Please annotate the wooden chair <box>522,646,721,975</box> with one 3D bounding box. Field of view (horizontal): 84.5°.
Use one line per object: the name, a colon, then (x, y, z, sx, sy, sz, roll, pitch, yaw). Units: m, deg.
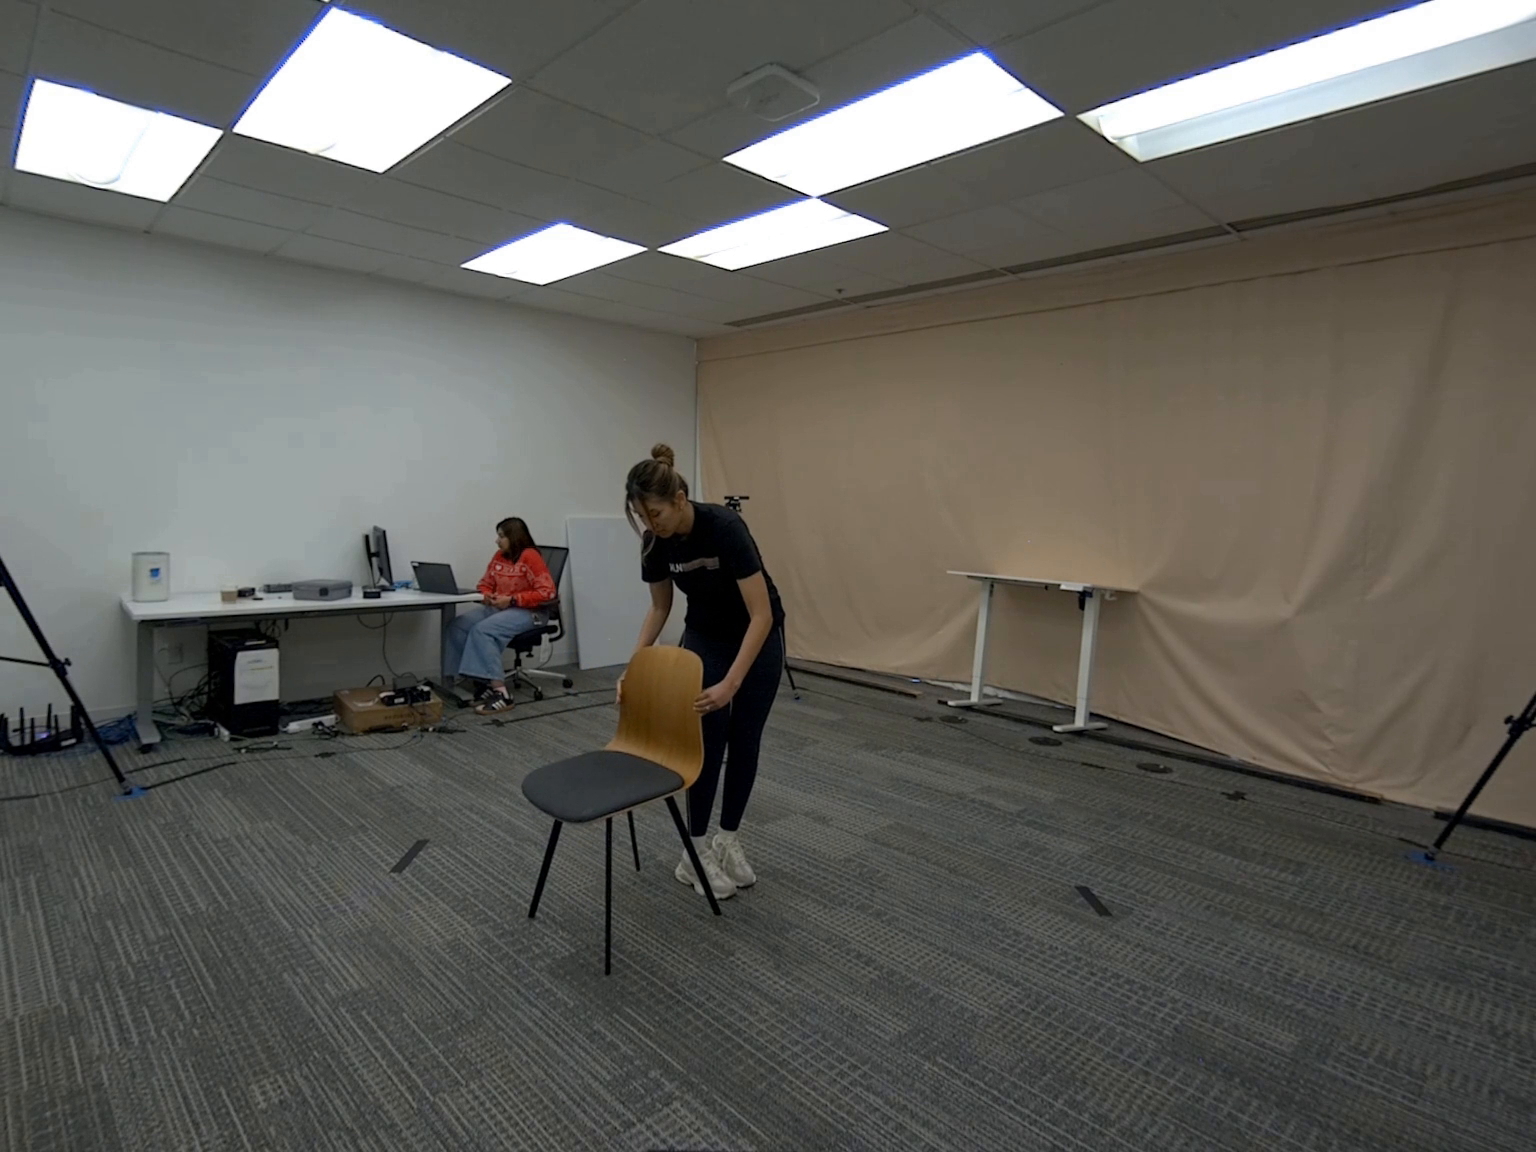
wooden chair: (-0.490, 0.694, 2.689, 0.511, 0.875, 0.490, -1, 4, -44)
